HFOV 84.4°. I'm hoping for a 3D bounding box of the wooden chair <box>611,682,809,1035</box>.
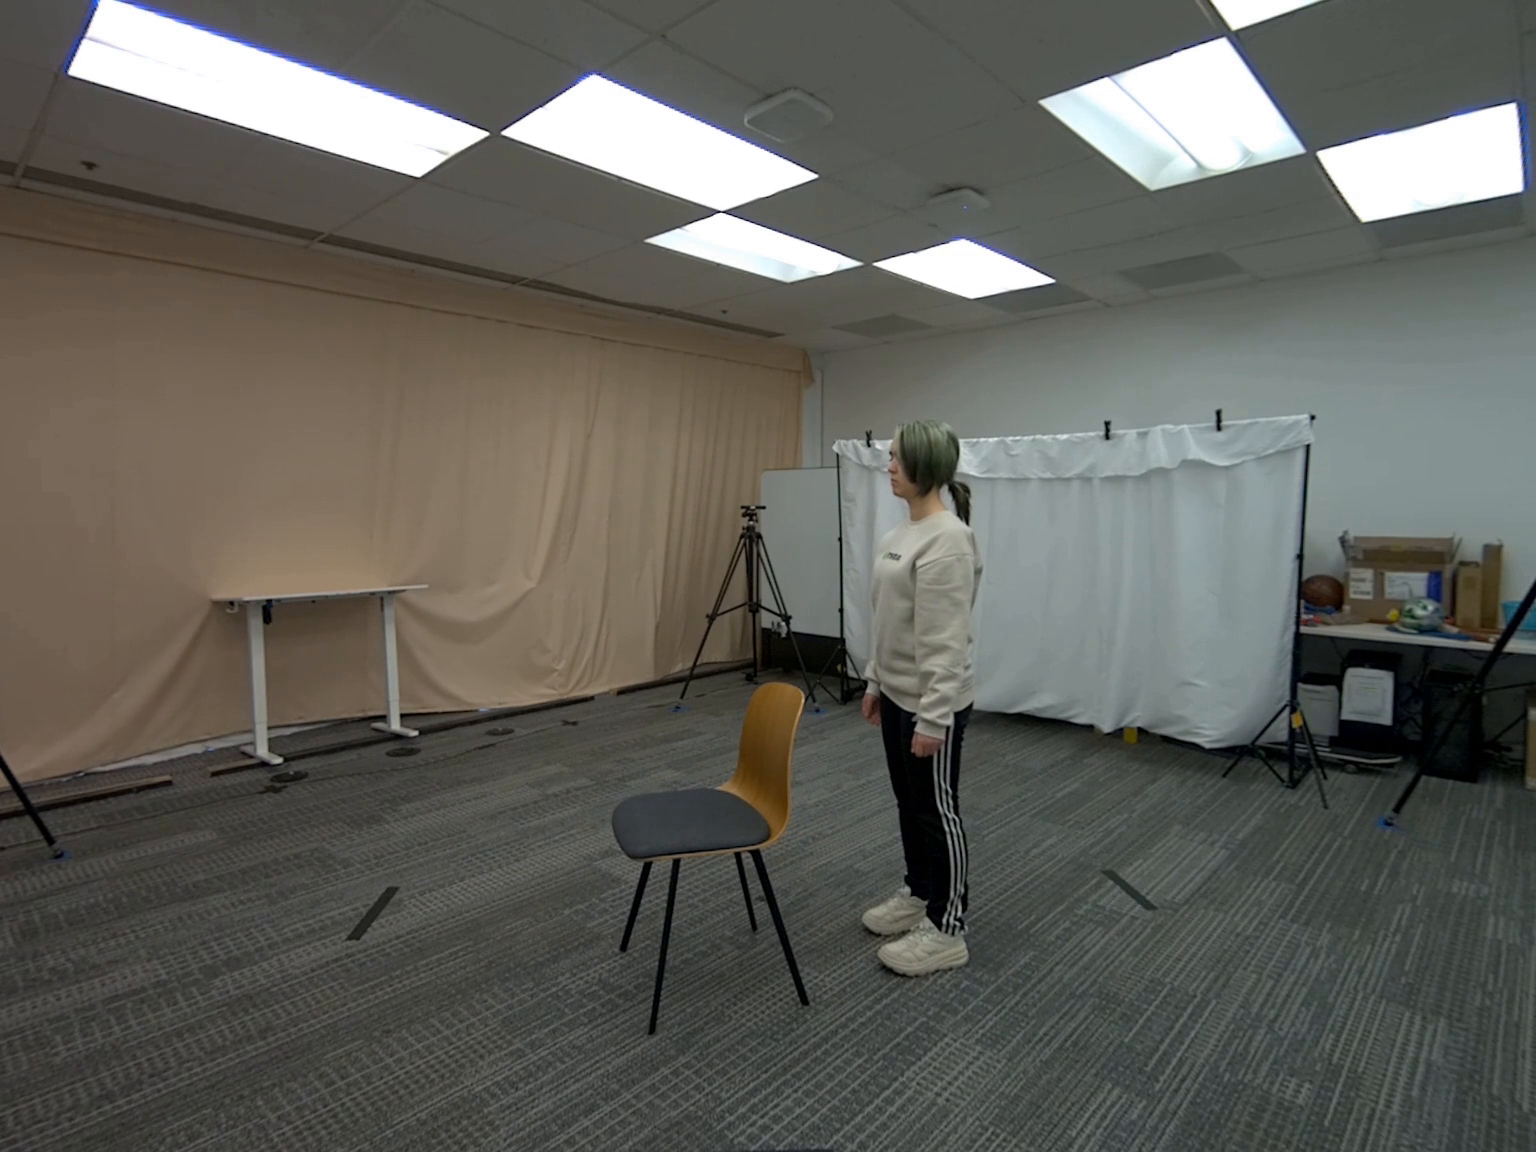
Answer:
[{"bbox_3d":[-0.182,0.766,2.471,0.513,0.876,0.488,3,2,-19],"label":"wooden chair"}]
